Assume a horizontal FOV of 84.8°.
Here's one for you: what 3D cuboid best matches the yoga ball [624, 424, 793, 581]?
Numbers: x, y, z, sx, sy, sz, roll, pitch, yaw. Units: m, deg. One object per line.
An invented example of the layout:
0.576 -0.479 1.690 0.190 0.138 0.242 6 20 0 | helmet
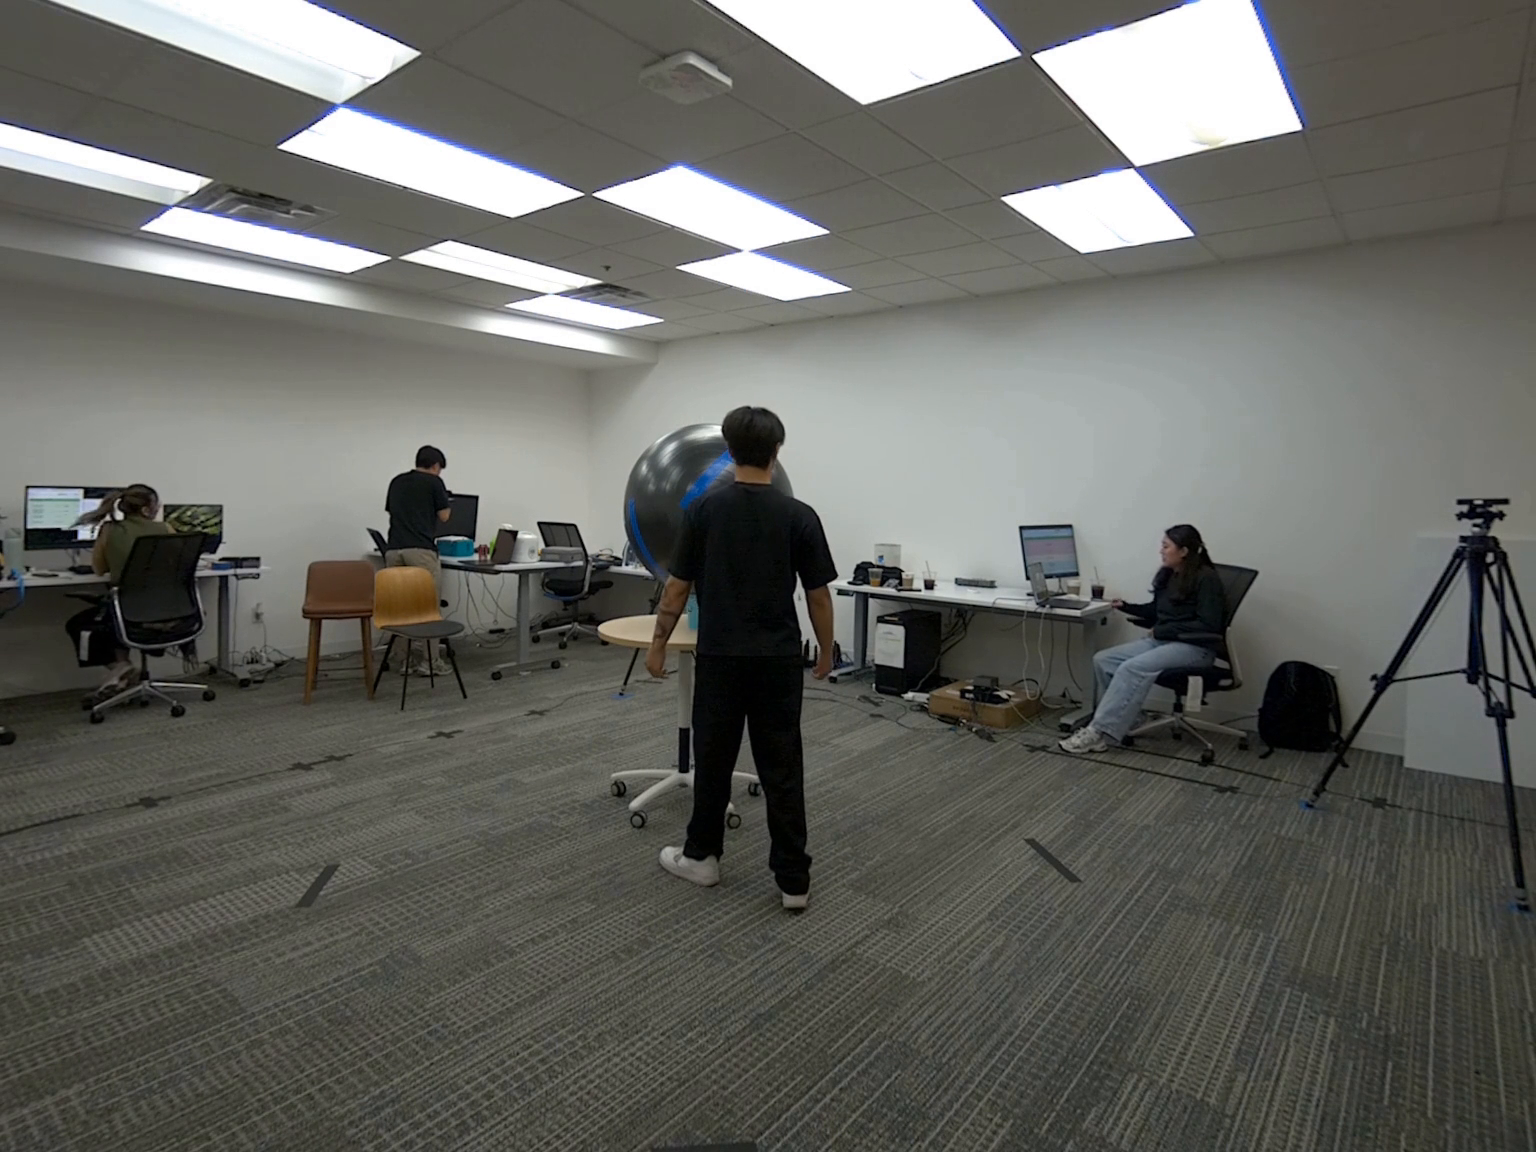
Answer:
-0.275 -0.292 3.766 0.757 0.755 0.762 1 4 -2 | yoga ball
